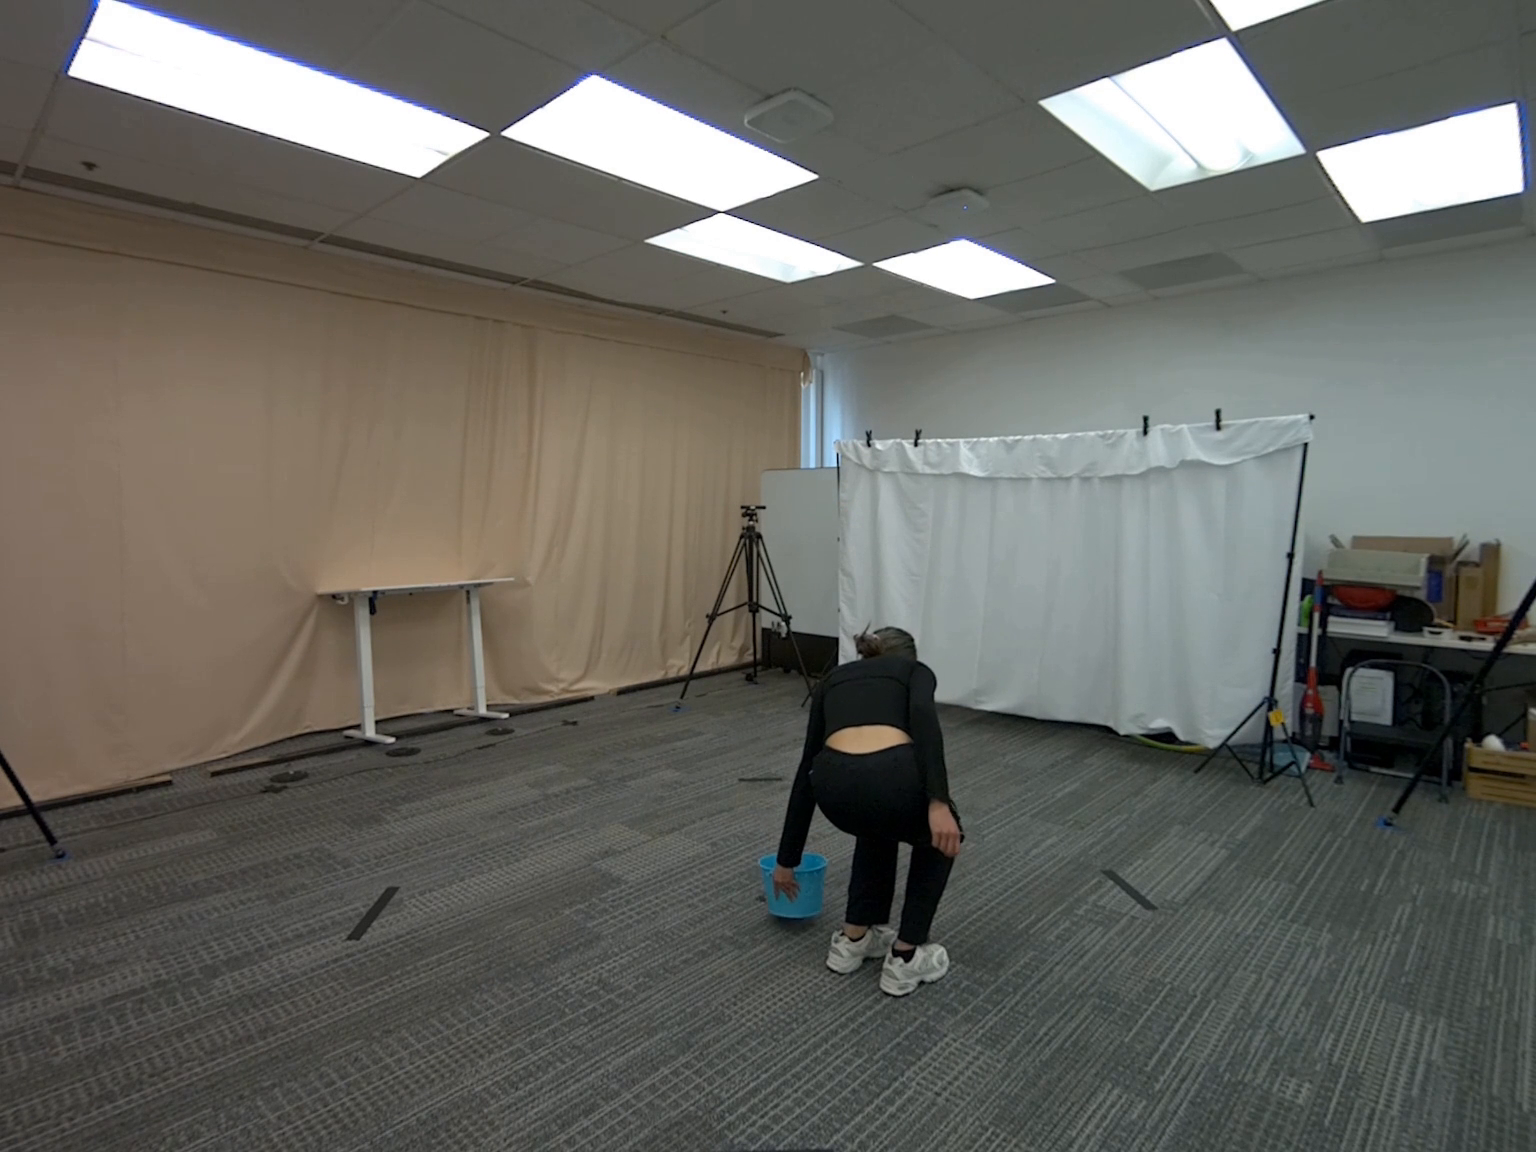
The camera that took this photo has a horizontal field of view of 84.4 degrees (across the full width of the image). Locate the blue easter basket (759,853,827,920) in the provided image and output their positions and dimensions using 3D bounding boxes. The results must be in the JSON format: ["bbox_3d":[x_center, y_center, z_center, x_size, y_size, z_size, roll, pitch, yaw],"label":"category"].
[{"bbox_3d":[0.084,1.032,2.823,0.243,0.156,0.243,-1,-3,-2],"label":"blue easter basket"}]
